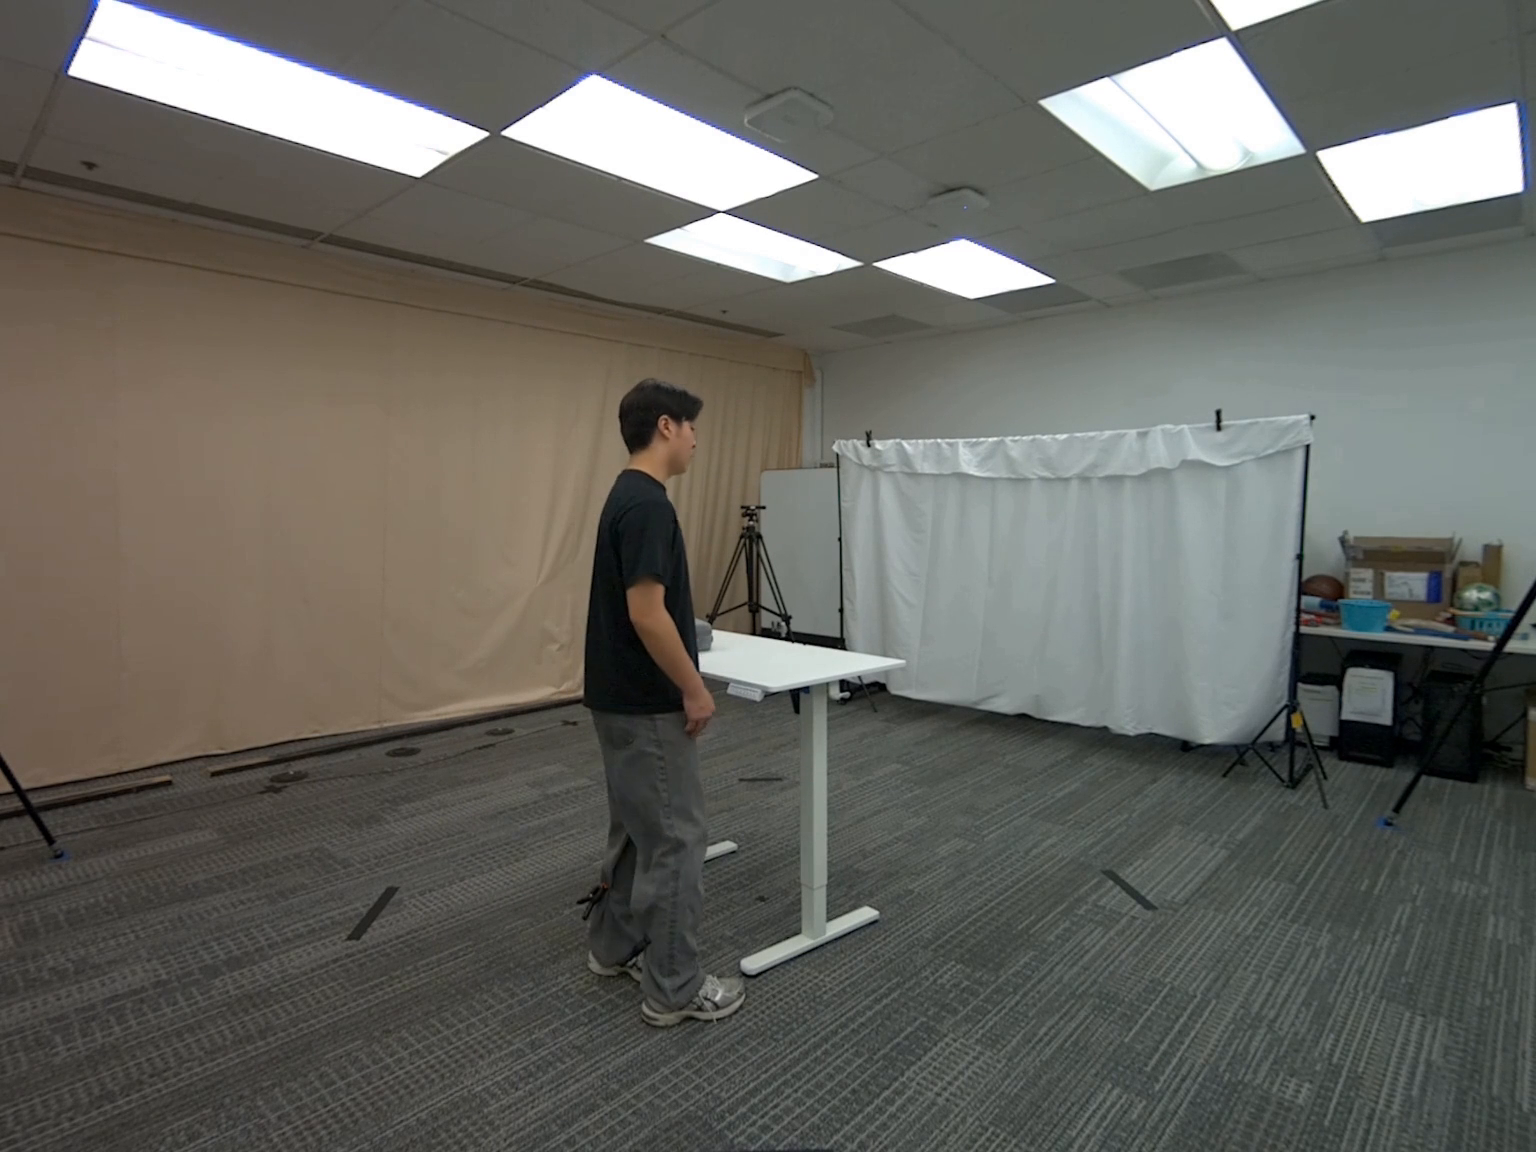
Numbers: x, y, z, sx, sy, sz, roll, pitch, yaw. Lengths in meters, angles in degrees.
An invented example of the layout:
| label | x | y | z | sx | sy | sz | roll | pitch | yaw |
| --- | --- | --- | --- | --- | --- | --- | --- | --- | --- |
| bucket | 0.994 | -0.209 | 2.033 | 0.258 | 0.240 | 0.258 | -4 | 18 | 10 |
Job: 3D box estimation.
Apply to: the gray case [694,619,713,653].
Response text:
| label | x | y | z | sx | sy | sz | roll | pitch | yaw |
| --- | --- | --- | --- | --- | --- | --- | --- | --- | --- |
| gray case | -0.344 | 0.208 | 3.015 | 0.257 | 0.103 | 0.295 | -2 | 5 | -26 |
